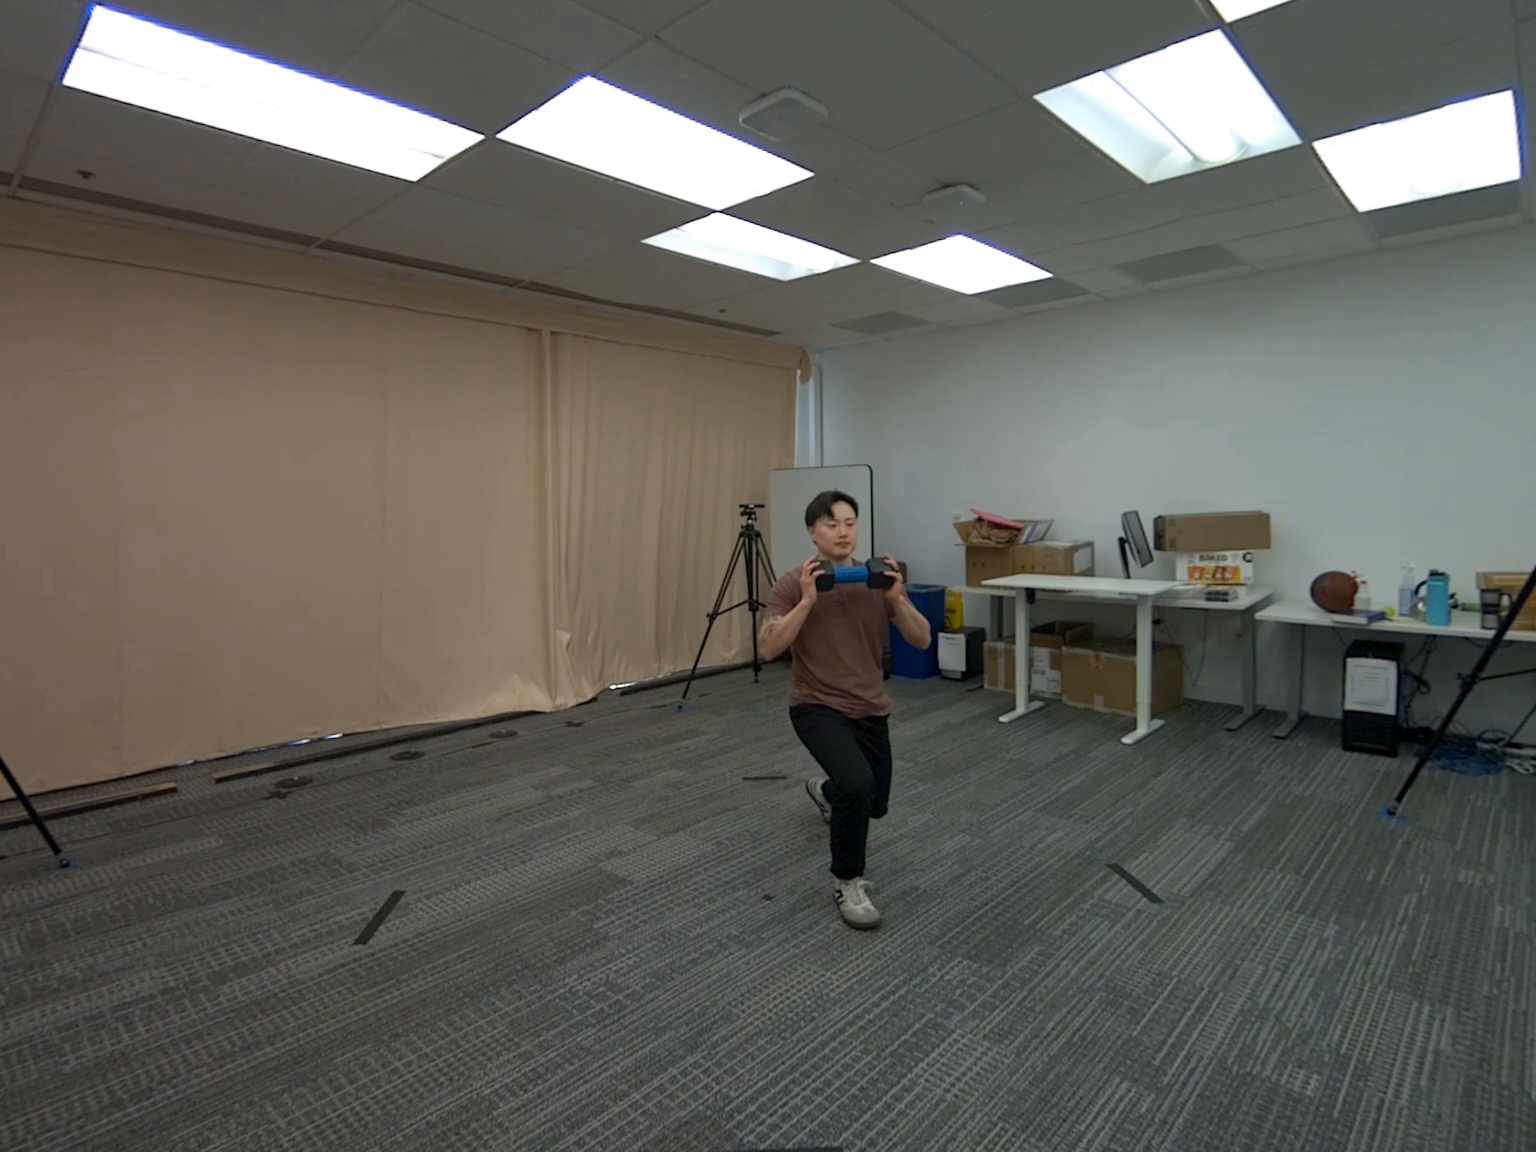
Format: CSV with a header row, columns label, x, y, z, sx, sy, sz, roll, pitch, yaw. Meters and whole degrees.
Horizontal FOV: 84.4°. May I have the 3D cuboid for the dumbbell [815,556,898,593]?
label,x,y,z,sx,sy,sz,roll,pitch,yaw
dumbbell,0.303,0.000,3.049,0.294,0.109,0.122,-13,-5,3
